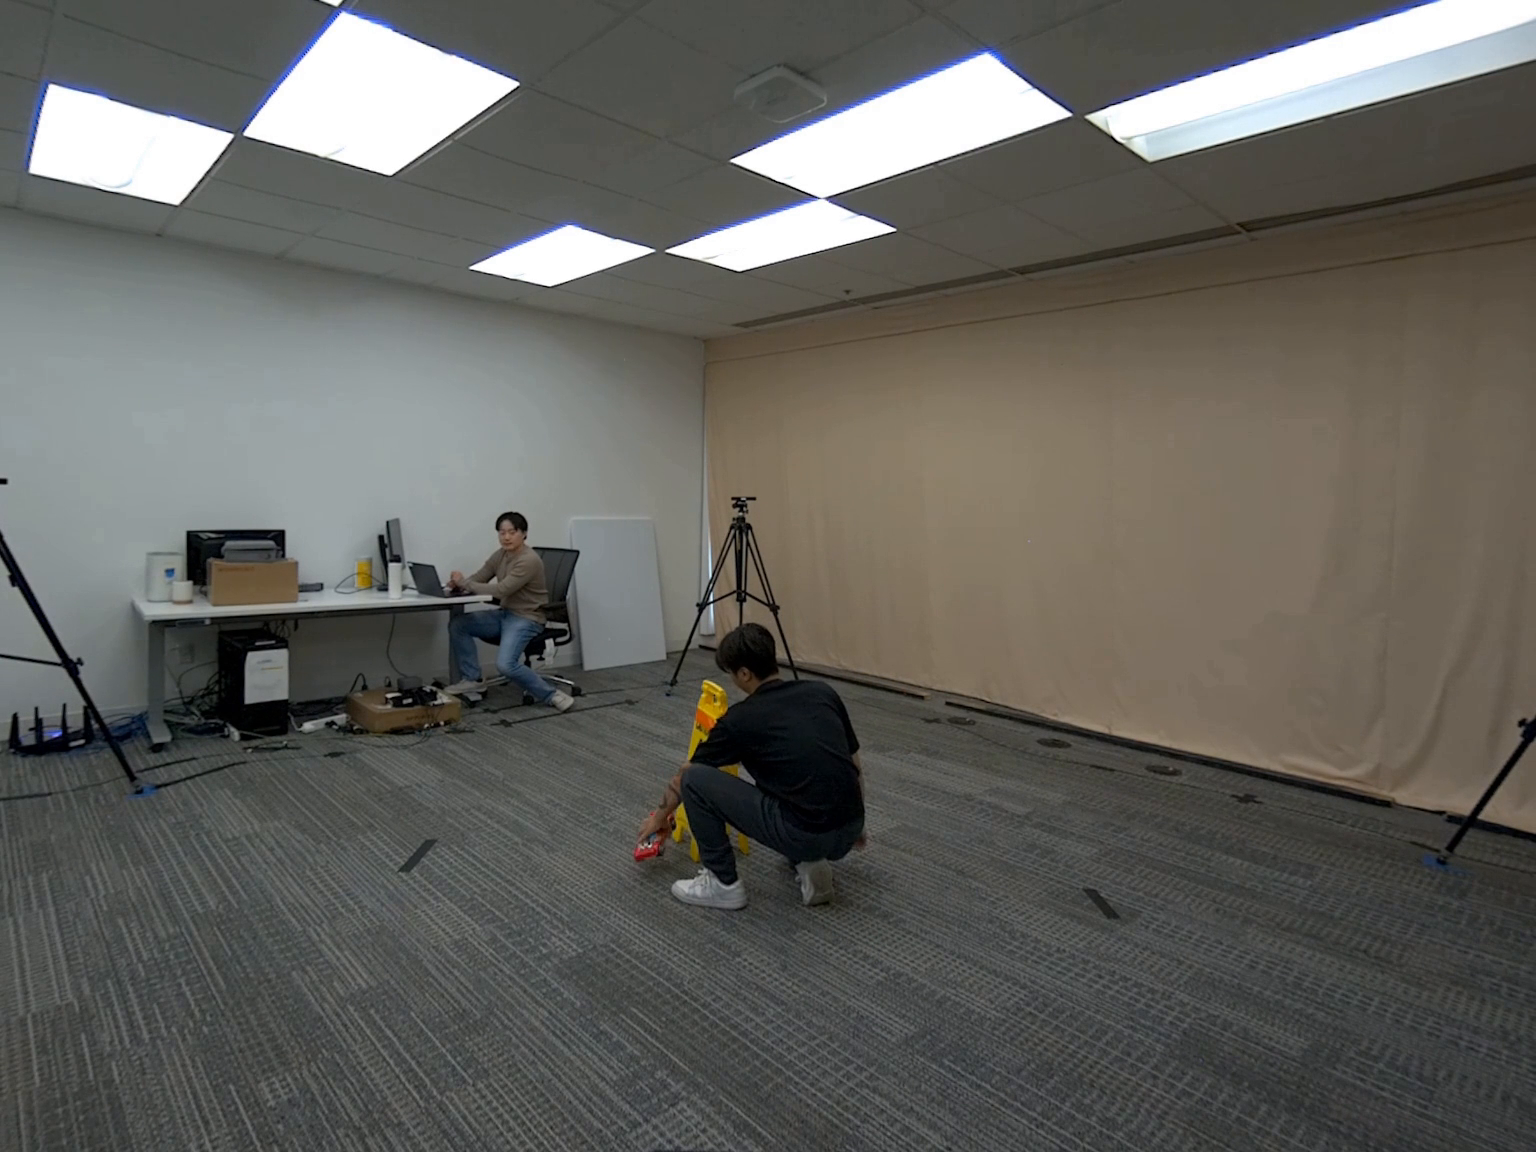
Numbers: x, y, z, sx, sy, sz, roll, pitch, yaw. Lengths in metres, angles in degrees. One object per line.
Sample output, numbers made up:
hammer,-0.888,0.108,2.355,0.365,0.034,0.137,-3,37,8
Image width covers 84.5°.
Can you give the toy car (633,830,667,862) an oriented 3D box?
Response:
toy car,-0.423,0.966,3.172,0.131,0.081,0.257,-24,23,20
